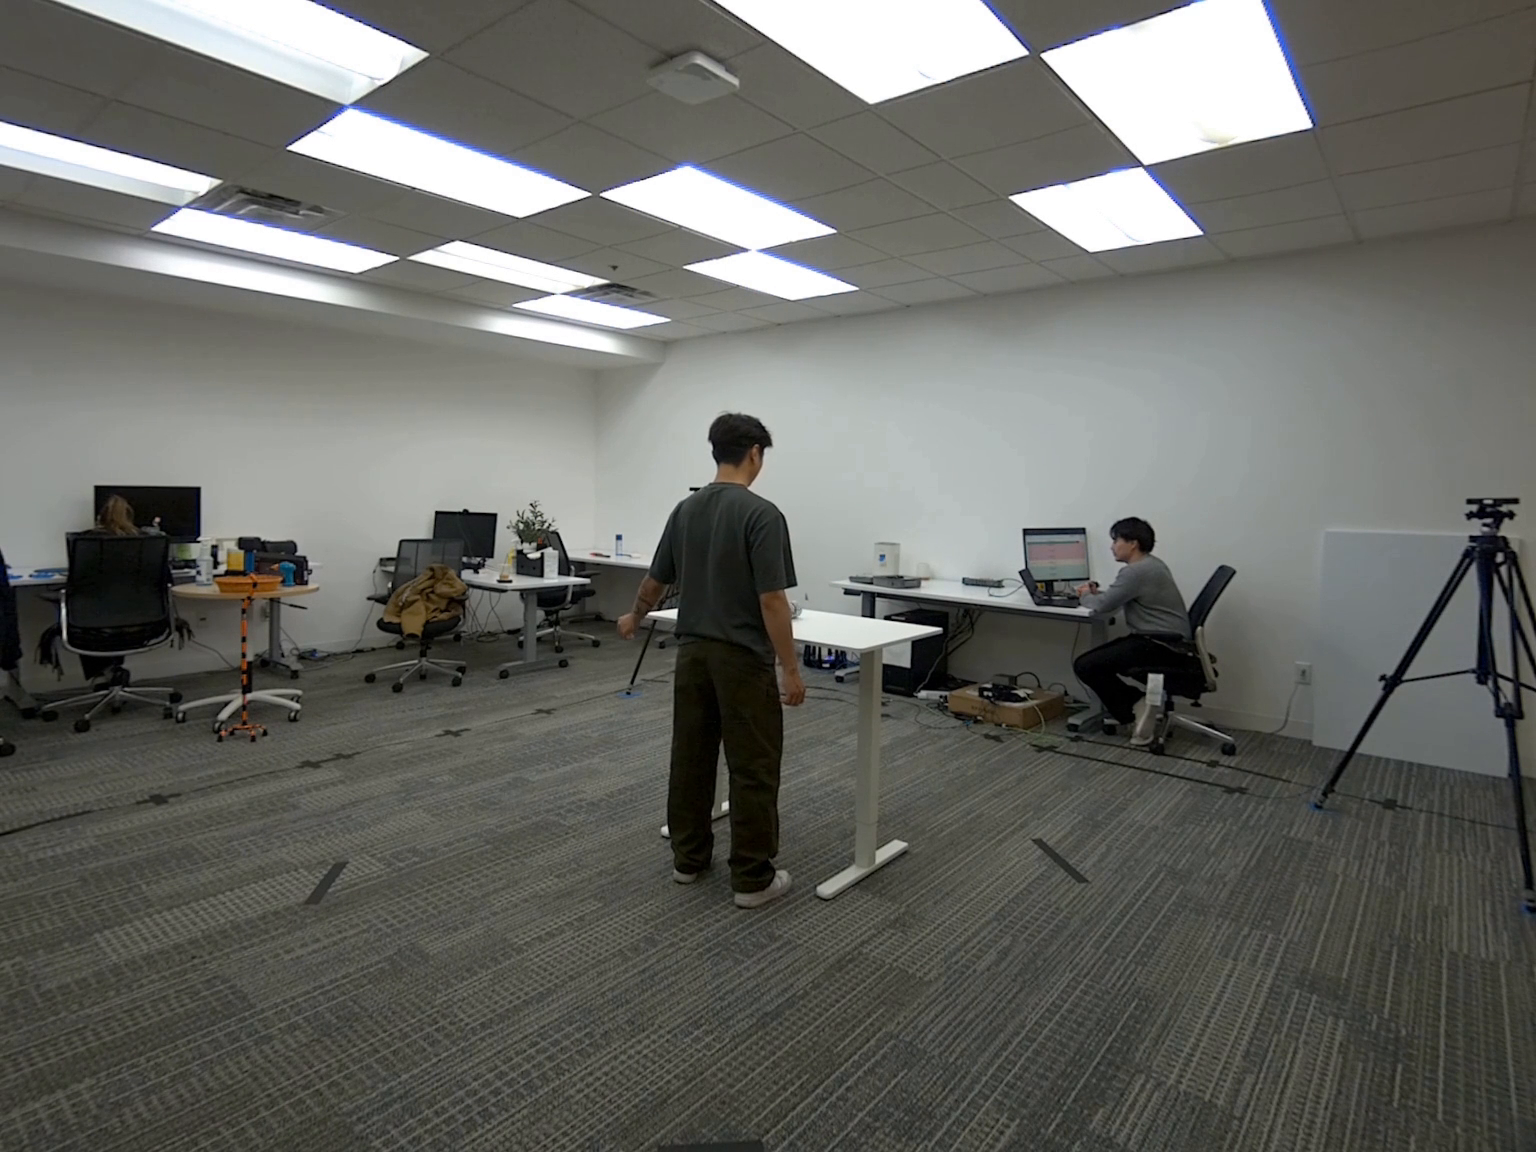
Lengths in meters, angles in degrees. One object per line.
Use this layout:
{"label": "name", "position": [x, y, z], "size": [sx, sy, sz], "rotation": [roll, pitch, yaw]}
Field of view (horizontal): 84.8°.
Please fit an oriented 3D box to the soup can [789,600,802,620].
{"label": "soup can", "position": [0.080, 0.132, 3.355], "size": [0.069, 0.067, 0.119], "rotation": [3, 6, 22]}
